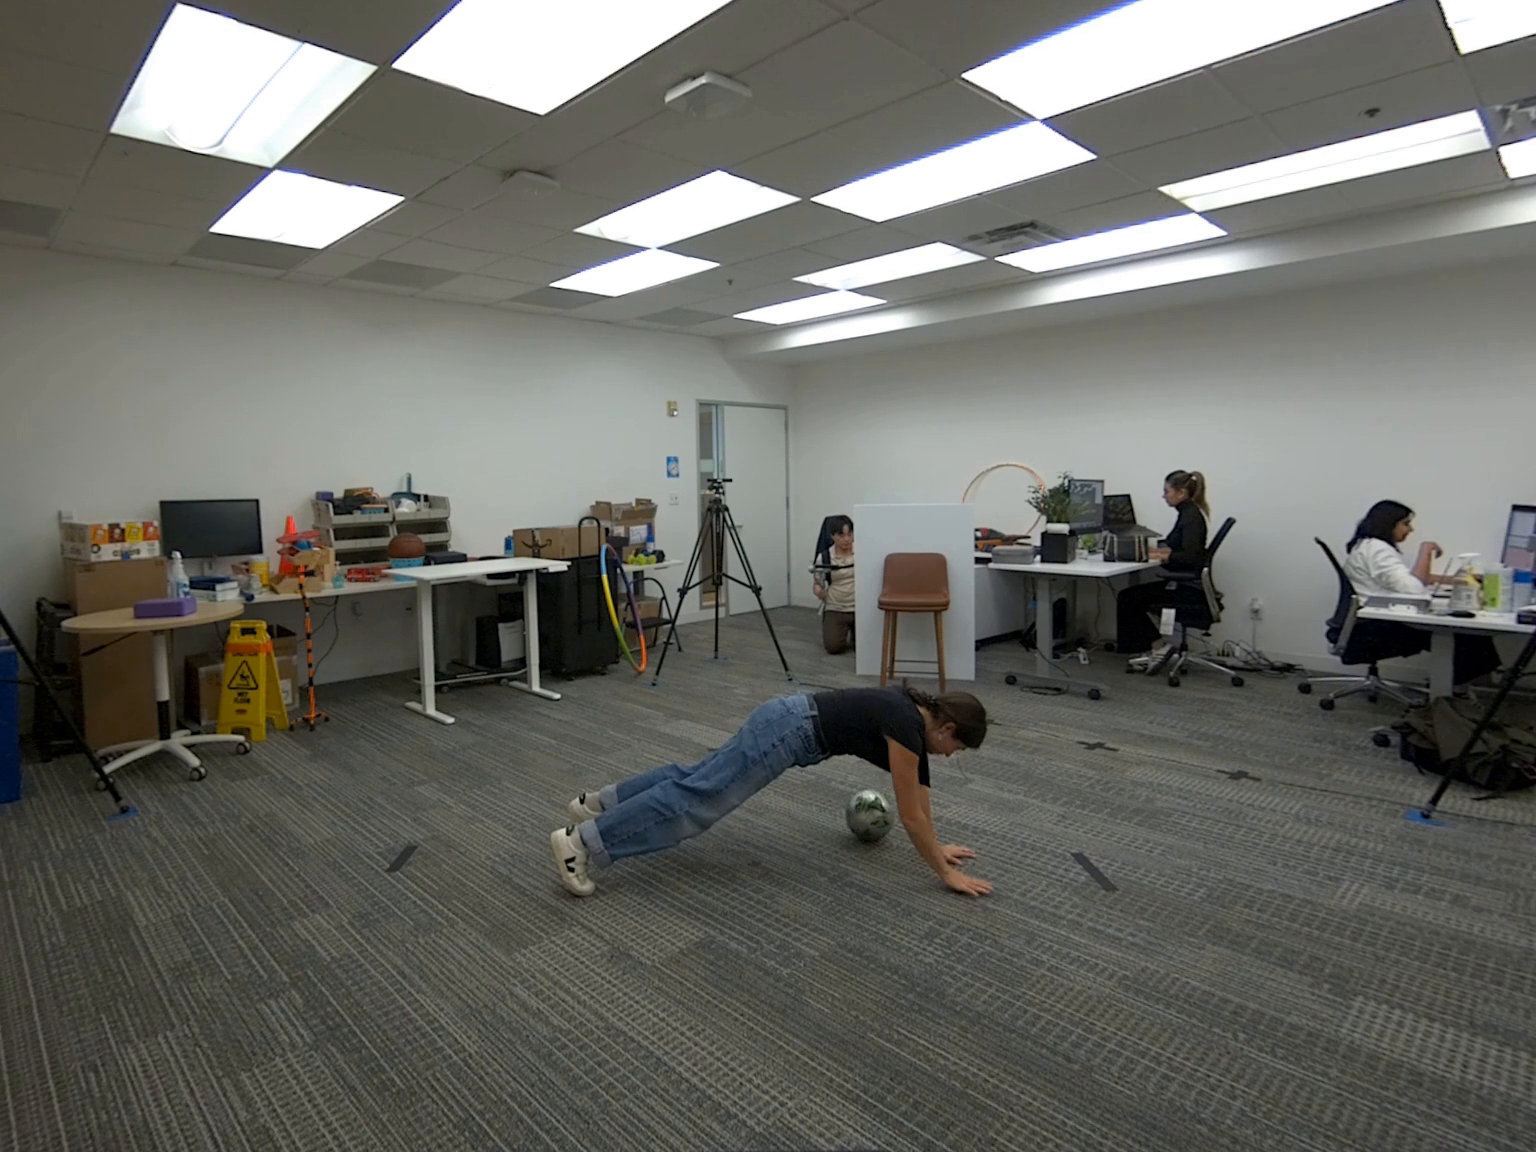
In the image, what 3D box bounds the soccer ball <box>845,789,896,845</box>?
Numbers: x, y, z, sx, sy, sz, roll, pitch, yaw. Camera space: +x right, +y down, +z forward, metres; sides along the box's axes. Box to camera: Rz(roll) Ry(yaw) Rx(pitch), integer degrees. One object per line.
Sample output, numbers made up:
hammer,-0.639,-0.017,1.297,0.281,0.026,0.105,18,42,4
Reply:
soccer ball,0.391,0.917,3.292,0.187,0.187,0.188,-1,5,-2
